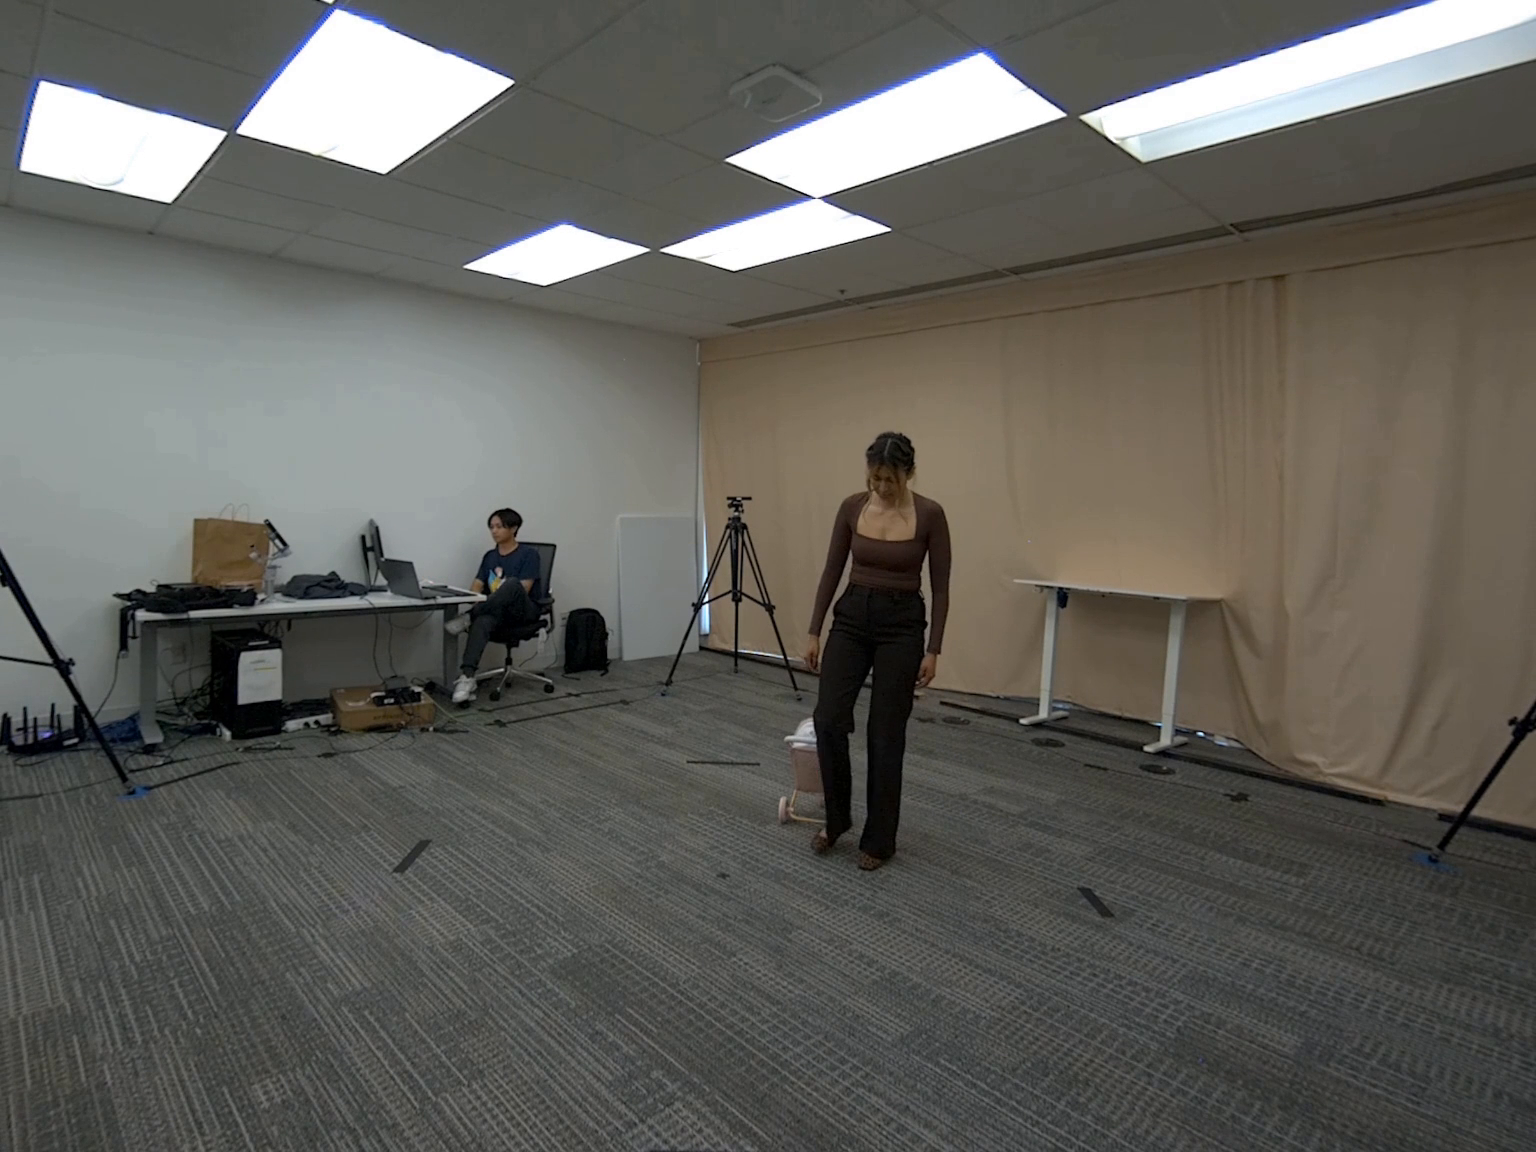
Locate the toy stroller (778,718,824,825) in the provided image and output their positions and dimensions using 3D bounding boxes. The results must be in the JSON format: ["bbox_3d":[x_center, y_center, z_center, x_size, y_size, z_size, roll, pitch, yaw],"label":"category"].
[{"bbox_3d":[0.204,0.847,3.663,0.286,0.527,0.341,4,21,19],"label":"toy stroller"}]
